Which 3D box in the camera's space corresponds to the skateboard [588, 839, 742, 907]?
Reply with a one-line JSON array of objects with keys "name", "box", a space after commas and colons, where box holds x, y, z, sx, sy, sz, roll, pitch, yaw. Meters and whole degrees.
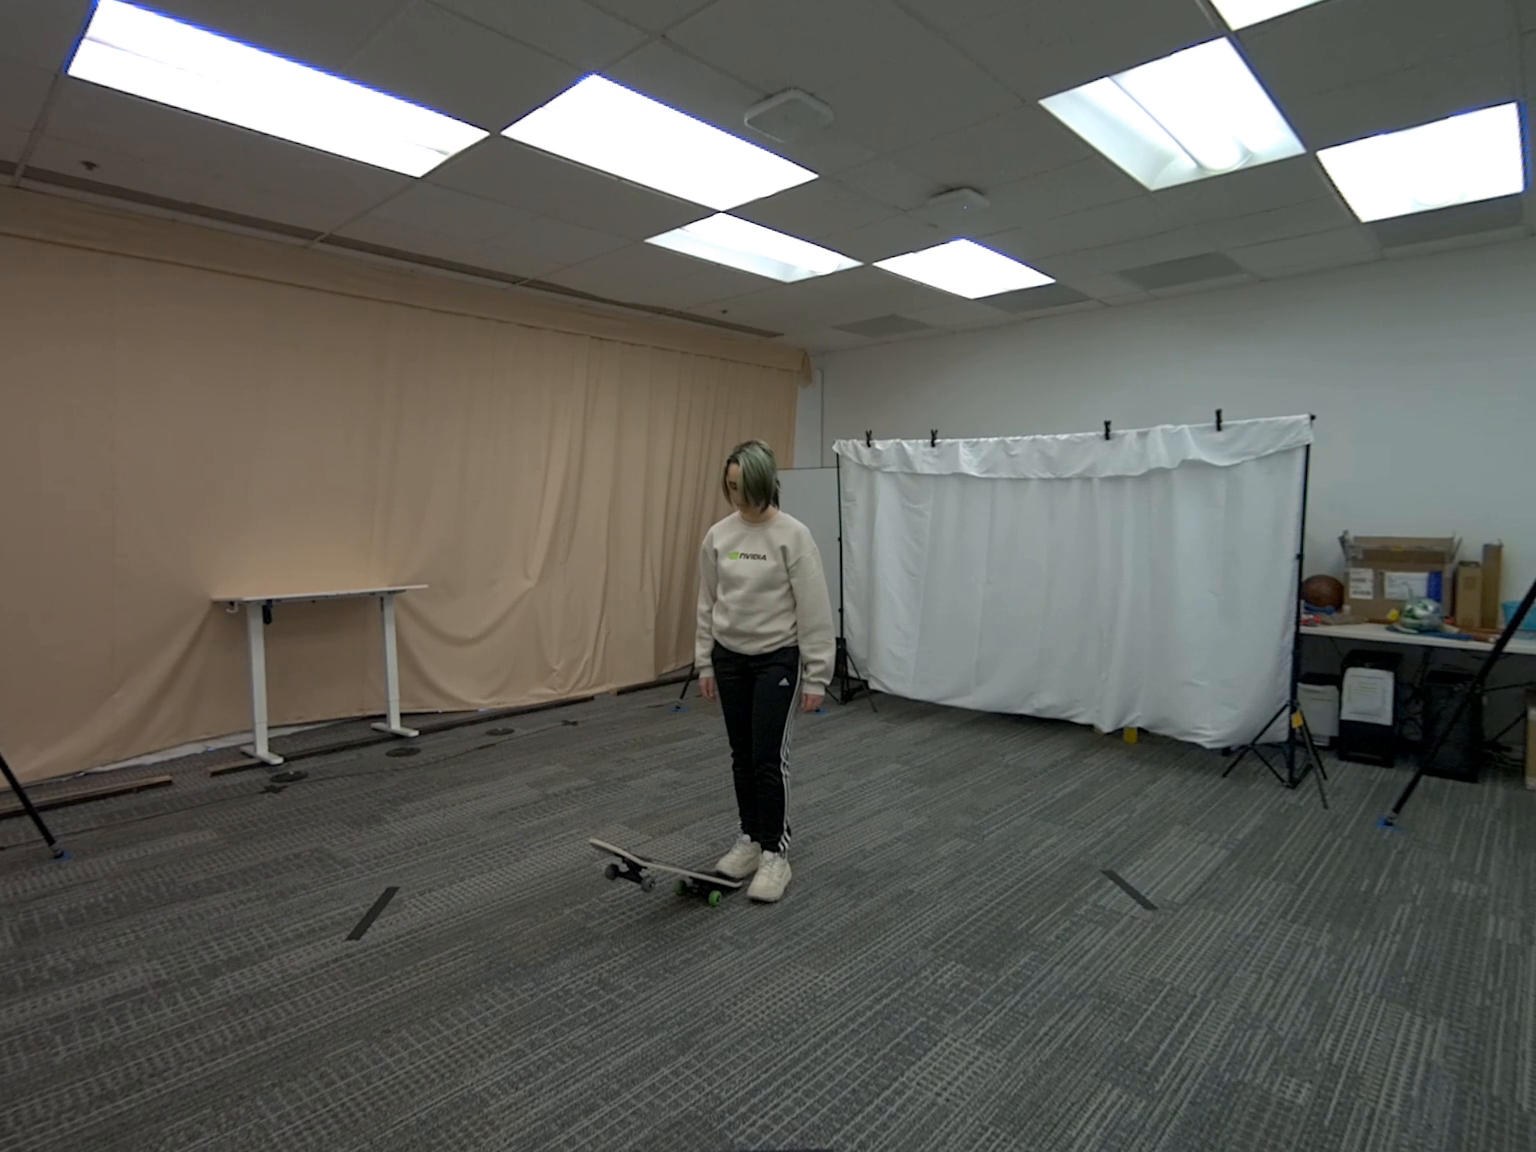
[{"name": "skateboard", "box": [-0.343, 1.019, 2.841, 0.199, 0.111, 0.757, 3, -23, 33]}]
